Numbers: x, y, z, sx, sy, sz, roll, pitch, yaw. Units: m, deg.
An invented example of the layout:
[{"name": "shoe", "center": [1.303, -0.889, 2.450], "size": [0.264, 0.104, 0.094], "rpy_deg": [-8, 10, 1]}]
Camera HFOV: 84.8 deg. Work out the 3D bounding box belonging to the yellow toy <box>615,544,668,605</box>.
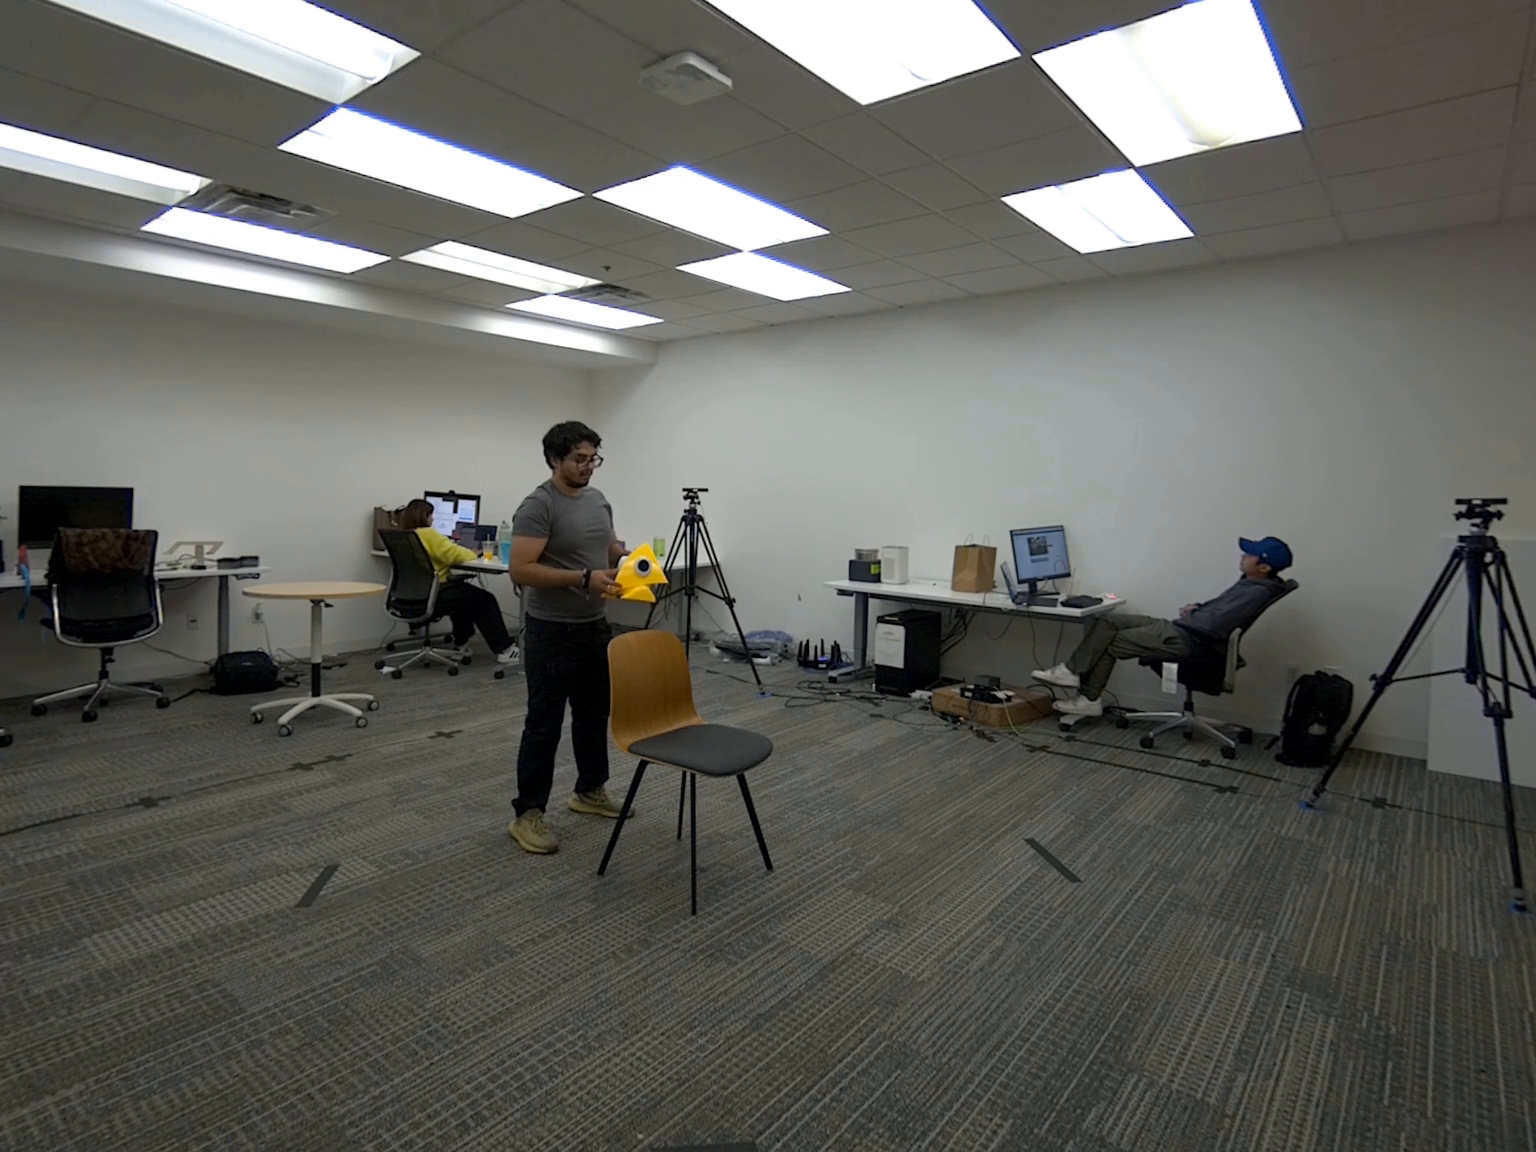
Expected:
[{"name": "yellow toy", "center": [-0.534, -0.023, 3.256], "size": [0.211, 0.232, 0.186], "rpy_deg": [1, -7, 39]}]
